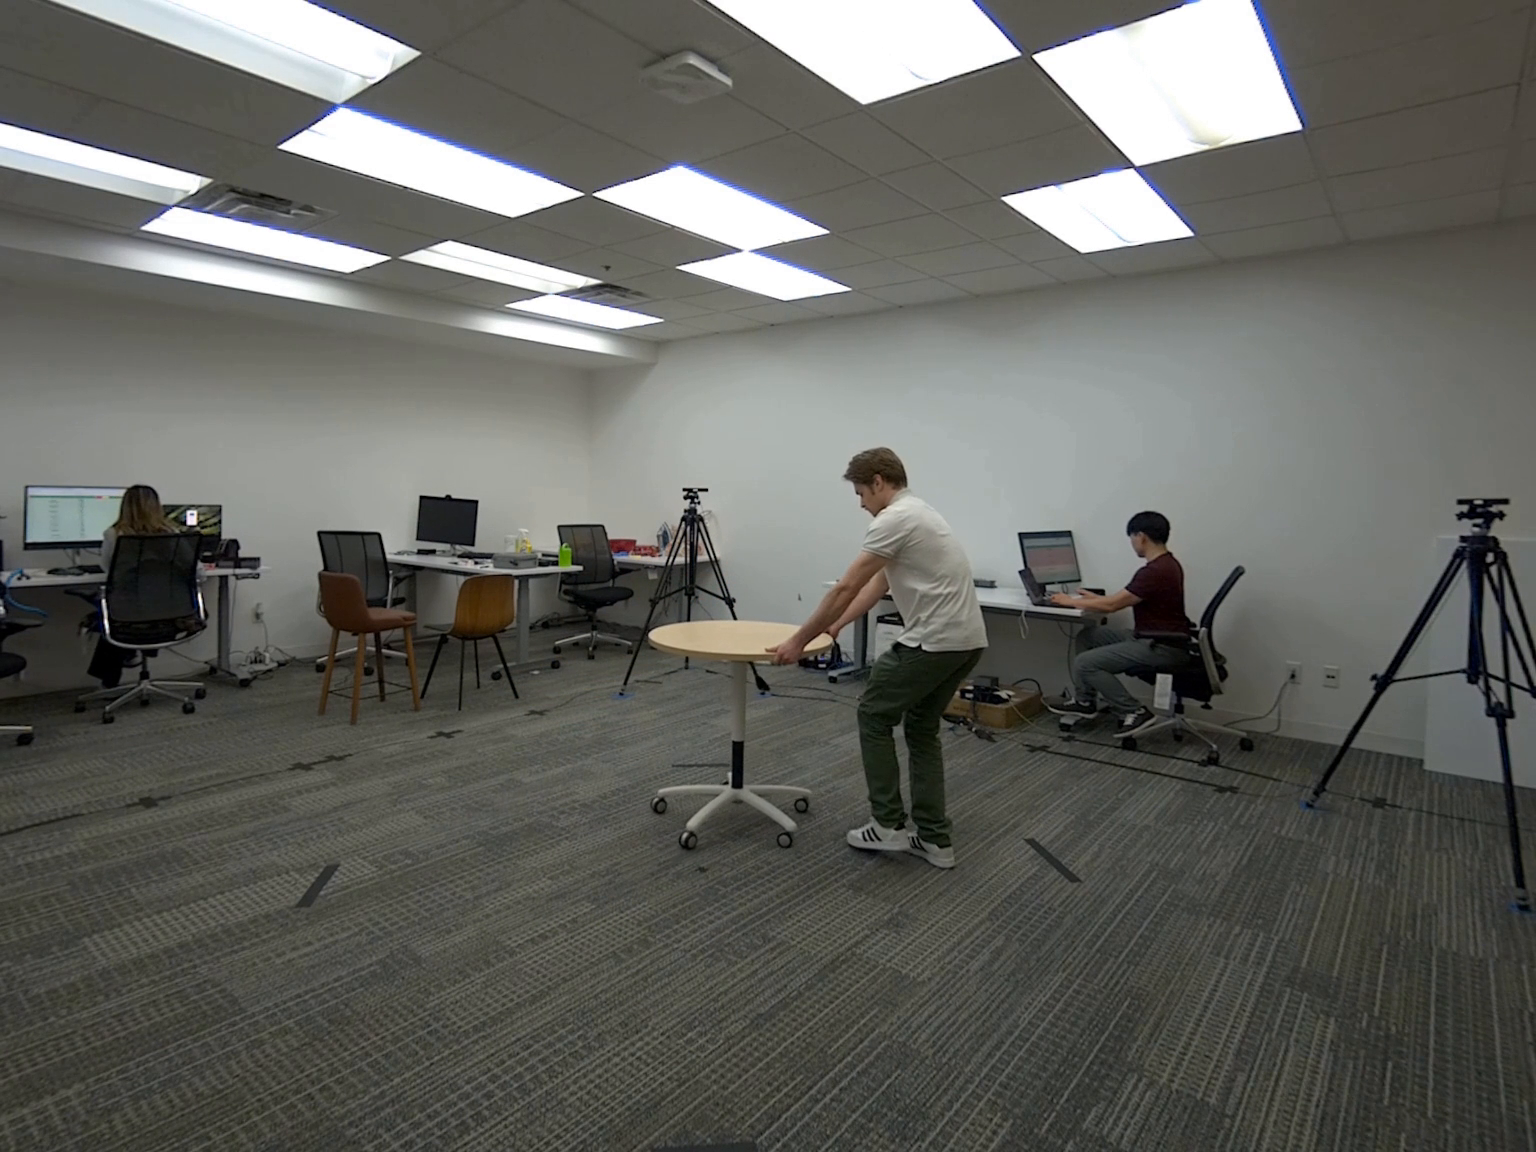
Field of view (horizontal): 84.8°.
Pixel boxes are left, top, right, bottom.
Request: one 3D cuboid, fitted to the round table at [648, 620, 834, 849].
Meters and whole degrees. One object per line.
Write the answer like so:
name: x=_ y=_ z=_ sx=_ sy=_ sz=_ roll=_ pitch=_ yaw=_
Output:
round table: x=-0.124 y=0.634 z=3.561 sx=0.784 sy=0.784 sz=0.789 roll=1 pitch=5 yaw=-2
